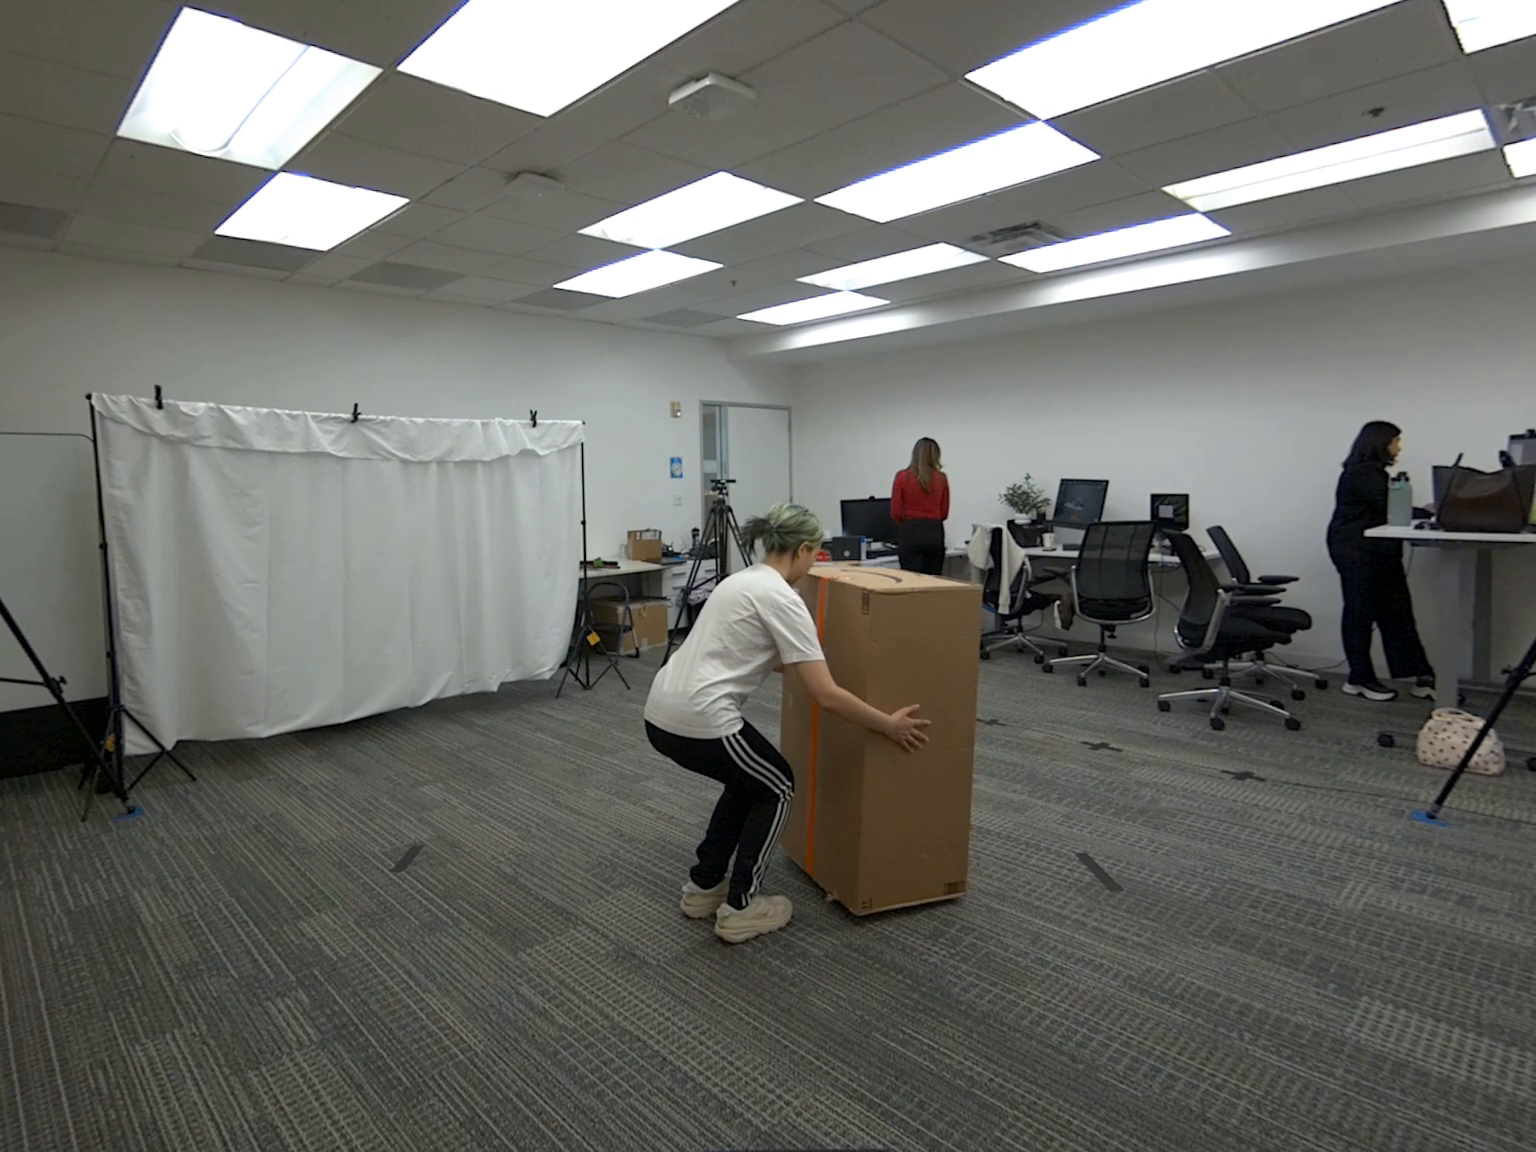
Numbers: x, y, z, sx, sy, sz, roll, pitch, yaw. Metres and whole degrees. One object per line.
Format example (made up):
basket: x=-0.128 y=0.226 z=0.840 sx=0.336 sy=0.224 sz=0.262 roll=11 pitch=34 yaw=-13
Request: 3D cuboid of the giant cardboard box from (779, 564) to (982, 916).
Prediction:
giant cardboard box: x=0.359 y=0.508 z=2.947 sx=0.417 sy=1.022 sz=0.592 roll=0 pitch=5 yaw=-24
